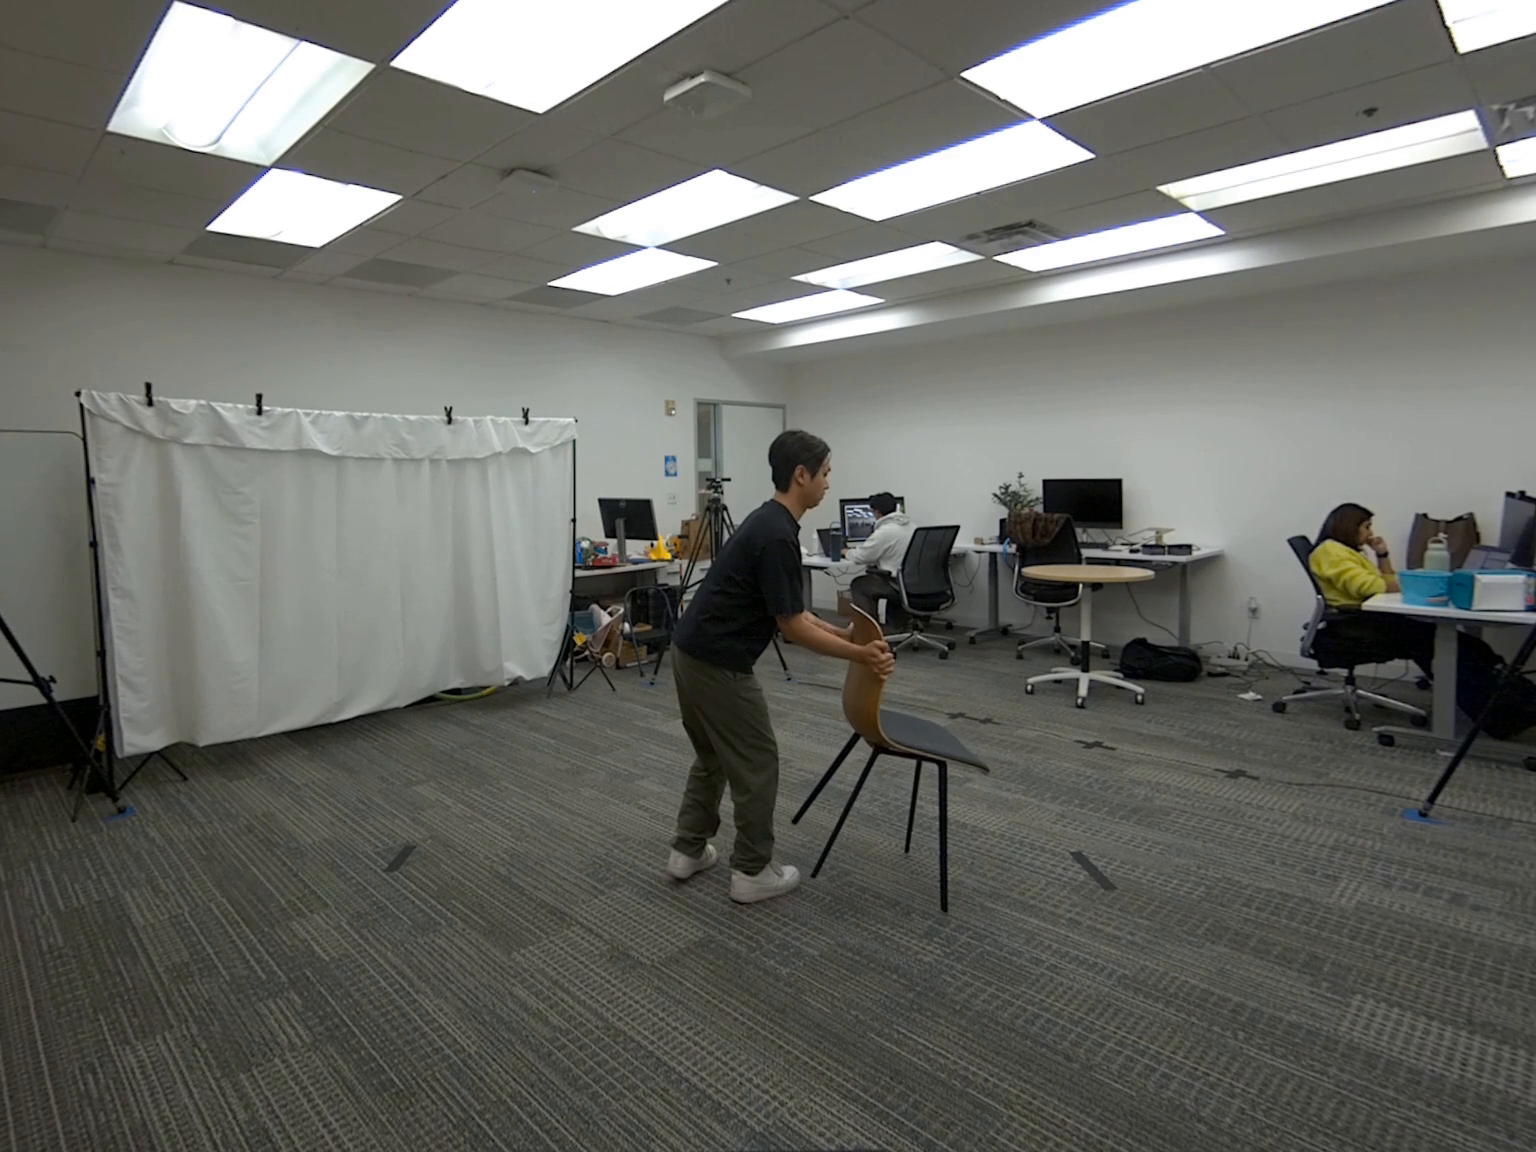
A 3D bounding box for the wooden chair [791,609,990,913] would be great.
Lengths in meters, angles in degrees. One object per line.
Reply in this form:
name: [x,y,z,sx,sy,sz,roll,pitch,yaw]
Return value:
wooden chair: [0.449,0.573,2.899,0.520,0.875,0.482,11,3,-5]
